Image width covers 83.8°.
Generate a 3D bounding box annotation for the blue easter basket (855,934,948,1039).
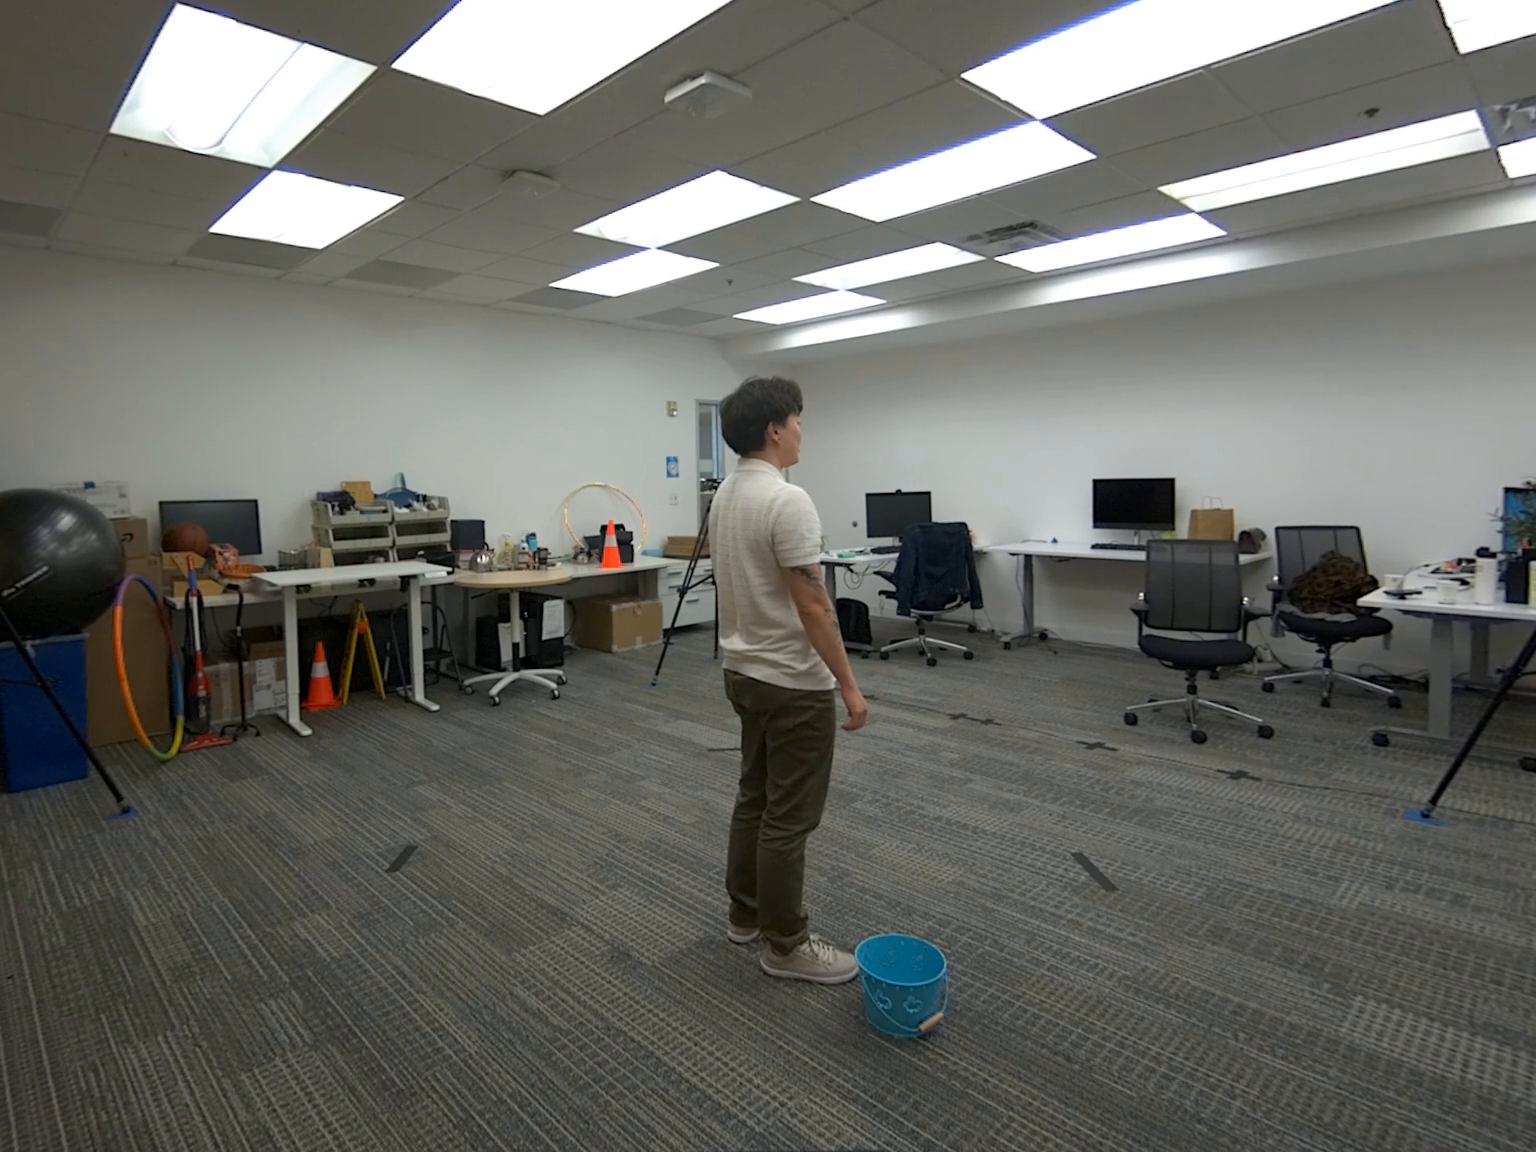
[{"bbox_3d":[0.348,1.065,2.210,0.243,0.155,0.245,-2,5,-2],"label":"blue easter basket"}]
